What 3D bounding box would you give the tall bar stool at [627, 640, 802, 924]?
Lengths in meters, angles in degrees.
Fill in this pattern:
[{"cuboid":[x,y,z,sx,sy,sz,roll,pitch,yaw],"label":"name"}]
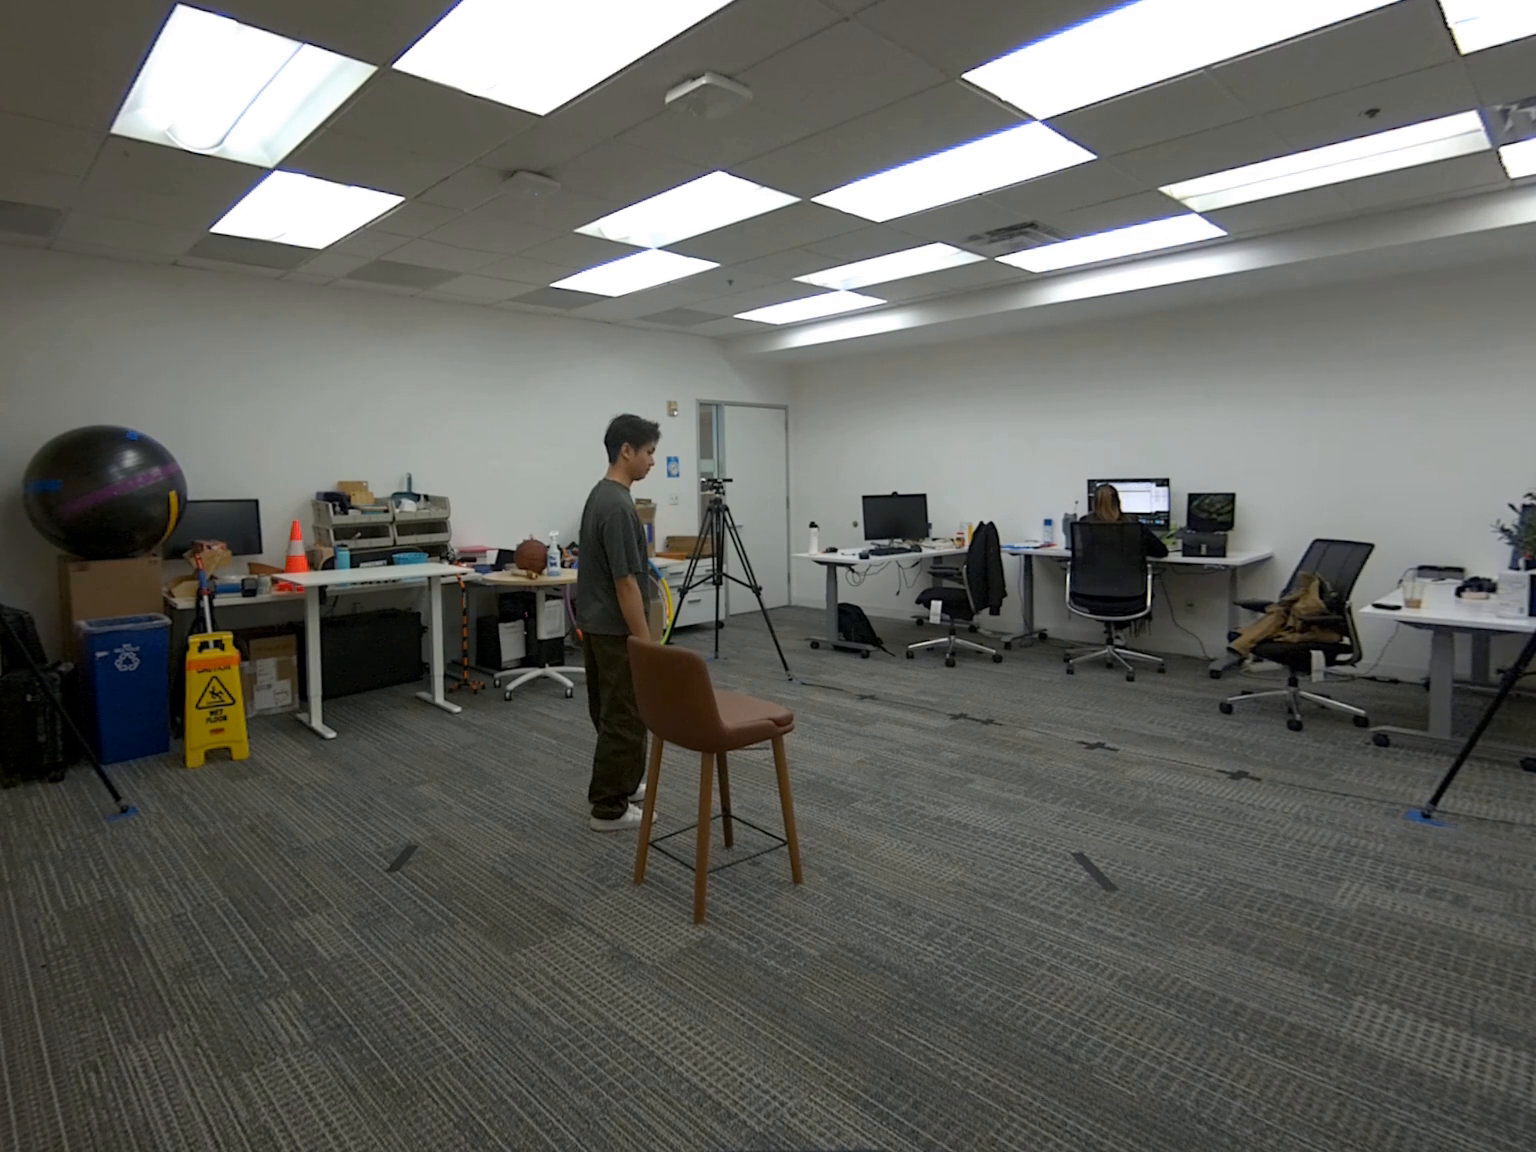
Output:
[{"cuboid":[-0.186,0.631,2.935,0.456,0.885,0.470,-7,8,-40],"label":"tall bar stool"}]
